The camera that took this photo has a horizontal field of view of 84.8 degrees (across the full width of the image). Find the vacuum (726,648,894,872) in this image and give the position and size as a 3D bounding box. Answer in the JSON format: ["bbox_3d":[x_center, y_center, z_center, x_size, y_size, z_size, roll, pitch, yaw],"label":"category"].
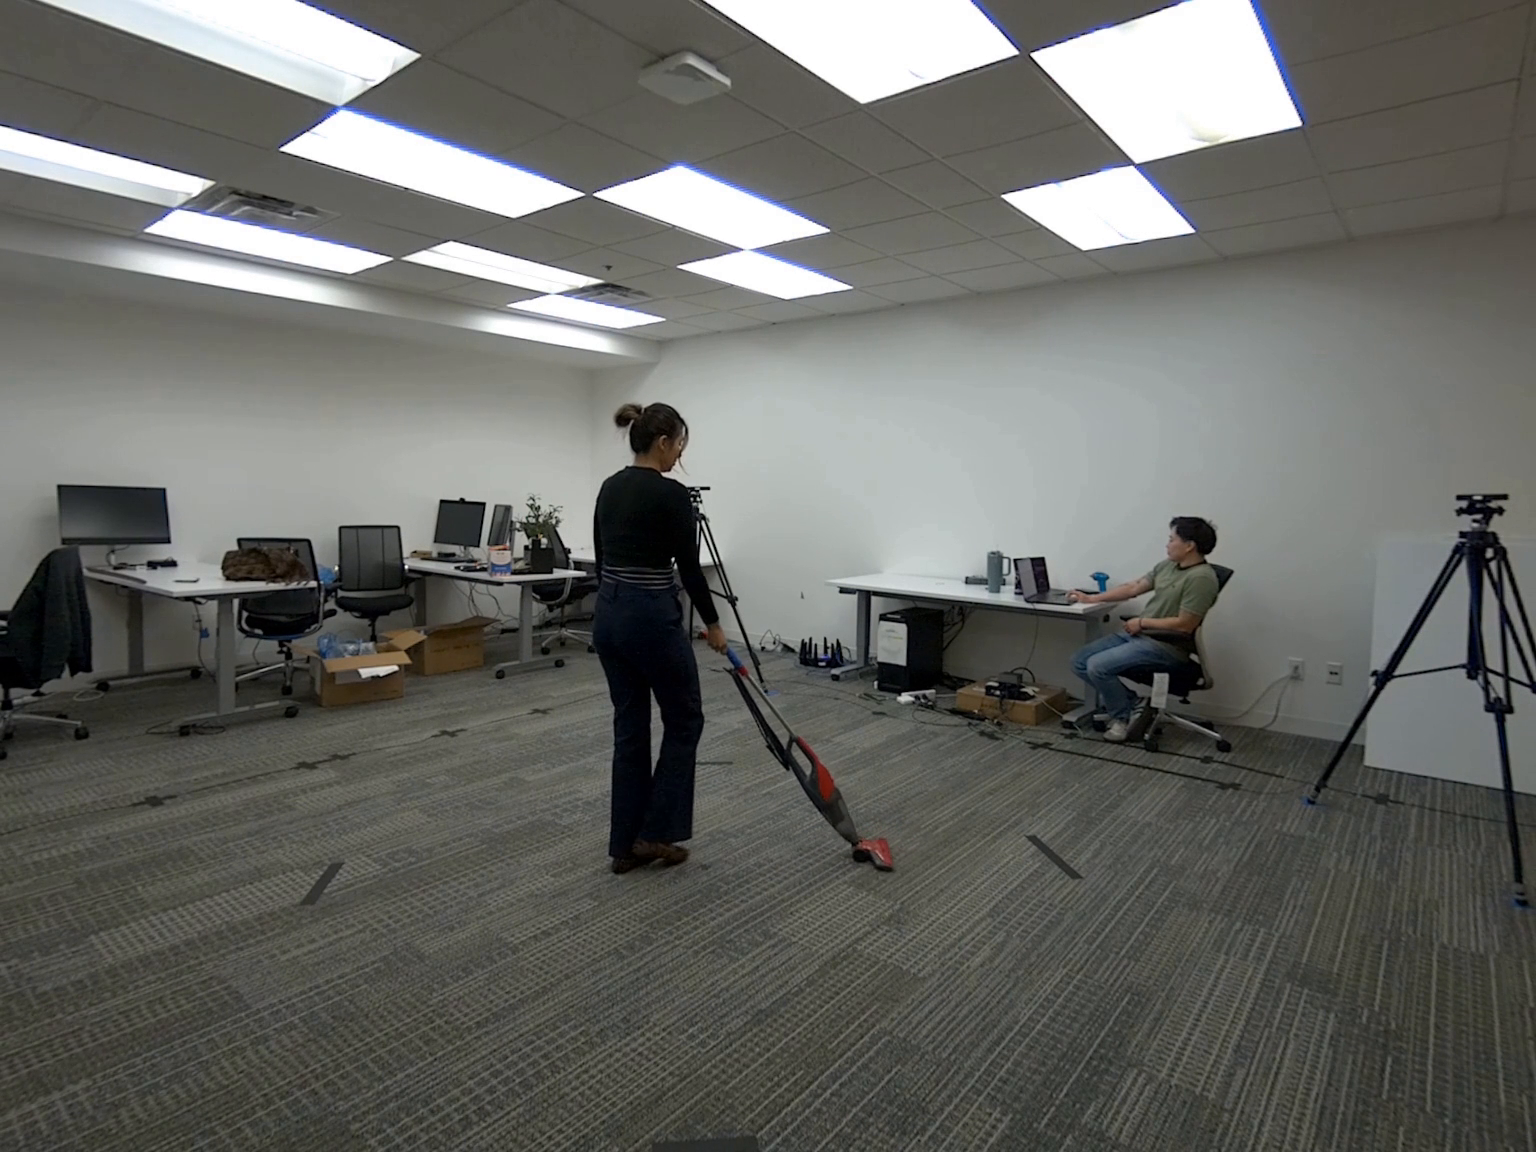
[{"bbox_3d":[0.070,0.642,3.250,0.144,1.054,0.251,-38,-3,4],"label":"vacuum"}]
